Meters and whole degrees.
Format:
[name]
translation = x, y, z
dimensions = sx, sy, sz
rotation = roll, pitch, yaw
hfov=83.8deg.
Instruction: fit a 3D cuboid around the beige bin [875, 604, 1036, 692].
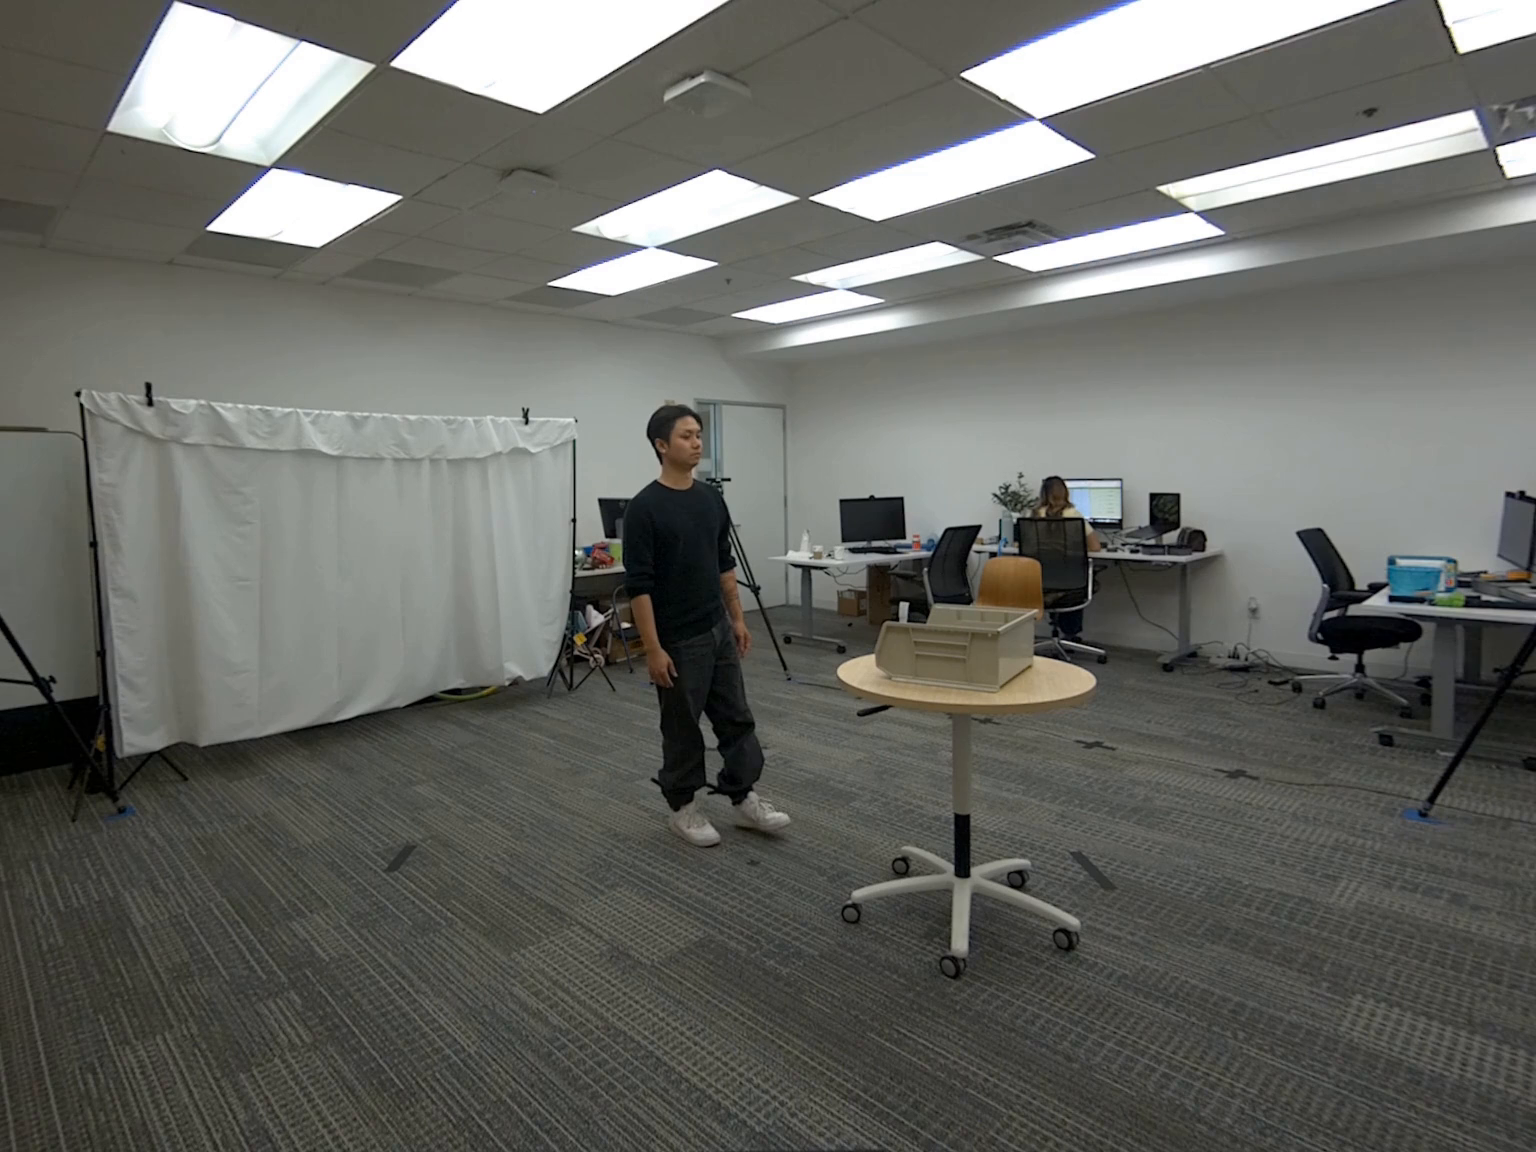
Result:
[beige bin]
translation = 0.599, 0.214, 2.641
dimensions = 0.388, 0.188, 0.413
rotation = 3, 7, 32
